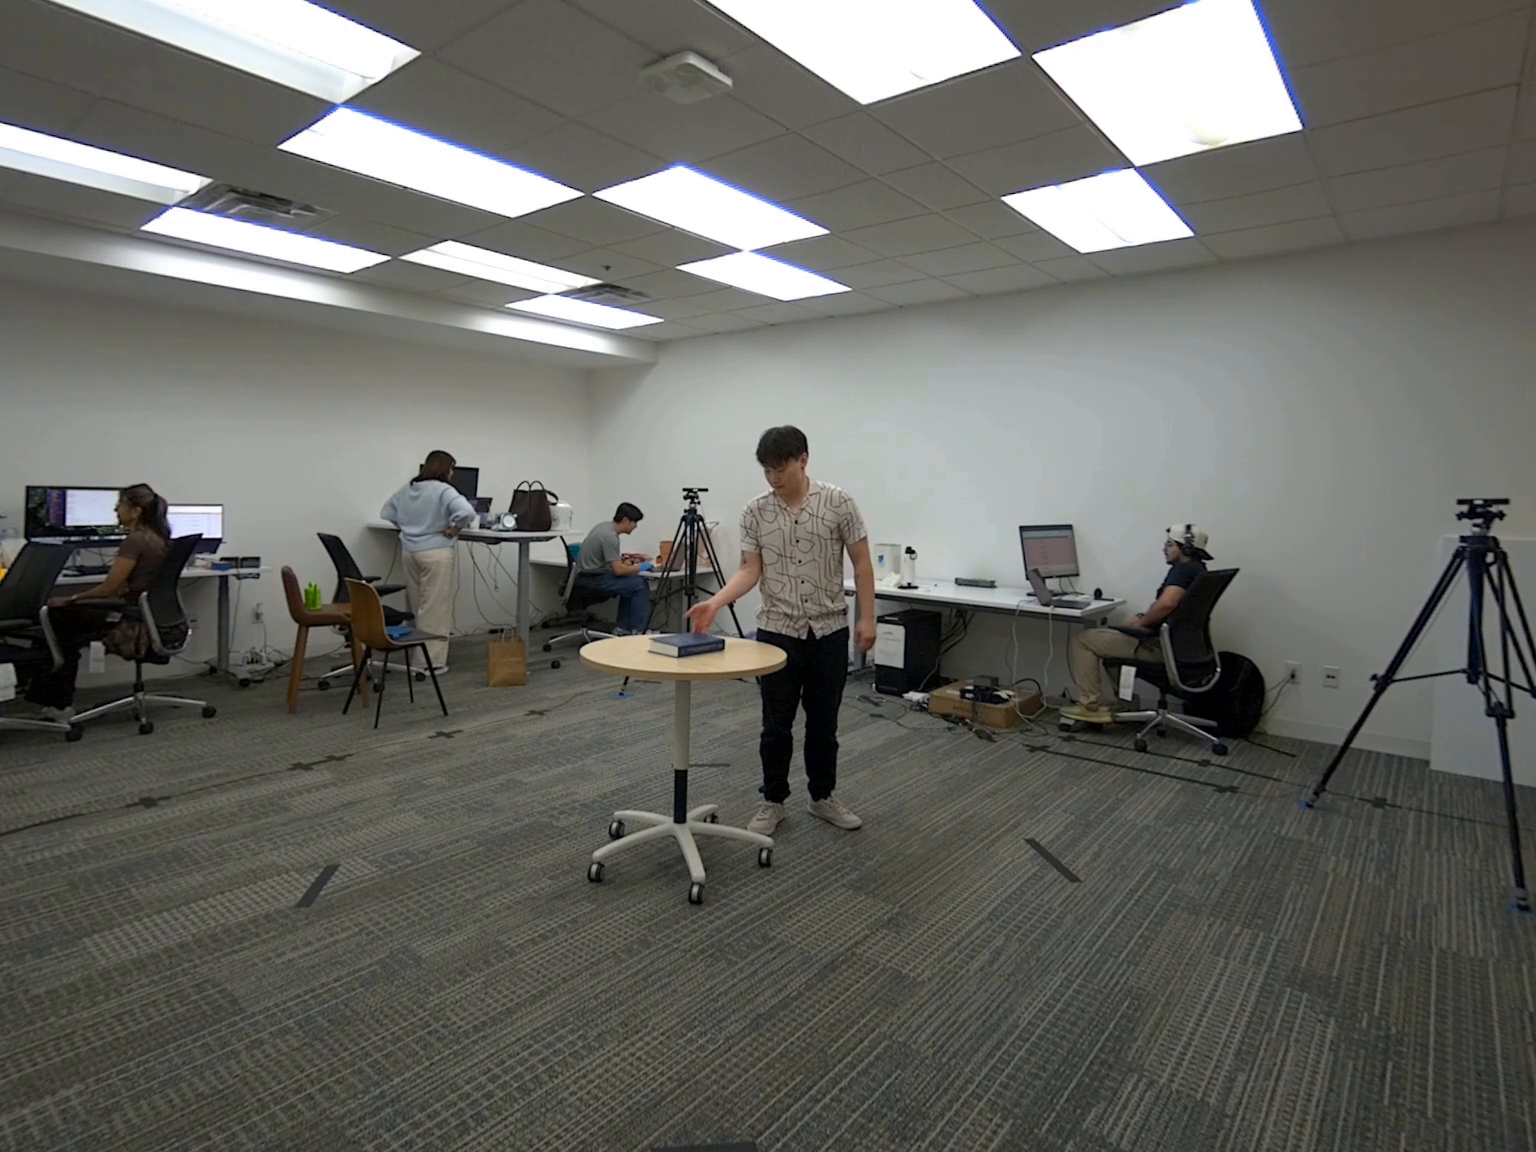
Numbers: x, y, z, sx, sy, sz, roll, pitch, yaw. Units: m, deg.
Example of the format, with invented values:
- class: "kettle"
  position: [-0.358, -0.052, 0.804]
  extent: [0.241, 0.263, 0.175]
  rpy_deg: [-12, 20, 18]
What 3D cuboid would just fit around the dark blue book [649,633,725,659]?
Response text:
- class: "dark blue book"
  position: [-0.317, 0.262, 3.158]
  extent: [0.169, 0.045, 0.238]
  rpy_deg: [8, 9, 43]
